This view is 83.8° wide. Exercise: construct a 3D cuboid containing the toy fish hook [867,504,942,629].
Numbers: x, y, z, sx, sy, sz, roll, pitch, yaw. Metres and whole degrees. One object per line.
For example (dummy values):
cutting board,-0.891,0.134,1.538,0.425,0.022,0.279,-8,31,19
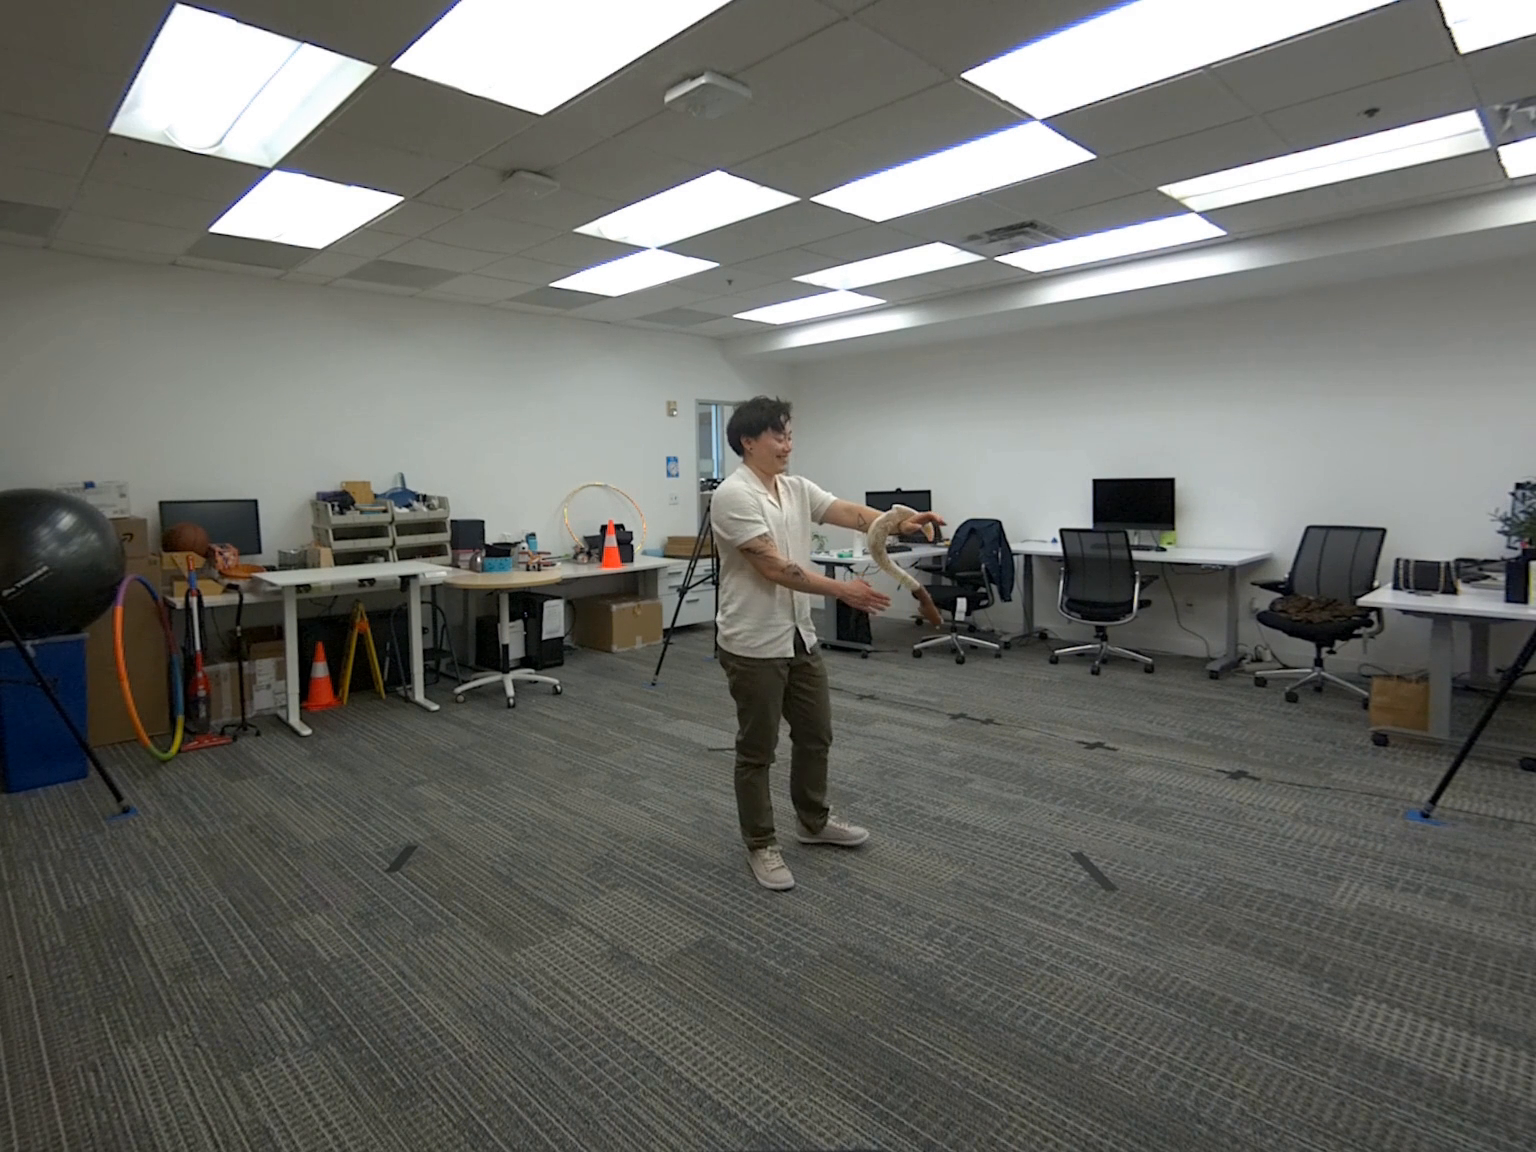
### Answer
toy fish hook,0.511,-0.020,2.875,0.225,0.493,0.049,-35,22,5
